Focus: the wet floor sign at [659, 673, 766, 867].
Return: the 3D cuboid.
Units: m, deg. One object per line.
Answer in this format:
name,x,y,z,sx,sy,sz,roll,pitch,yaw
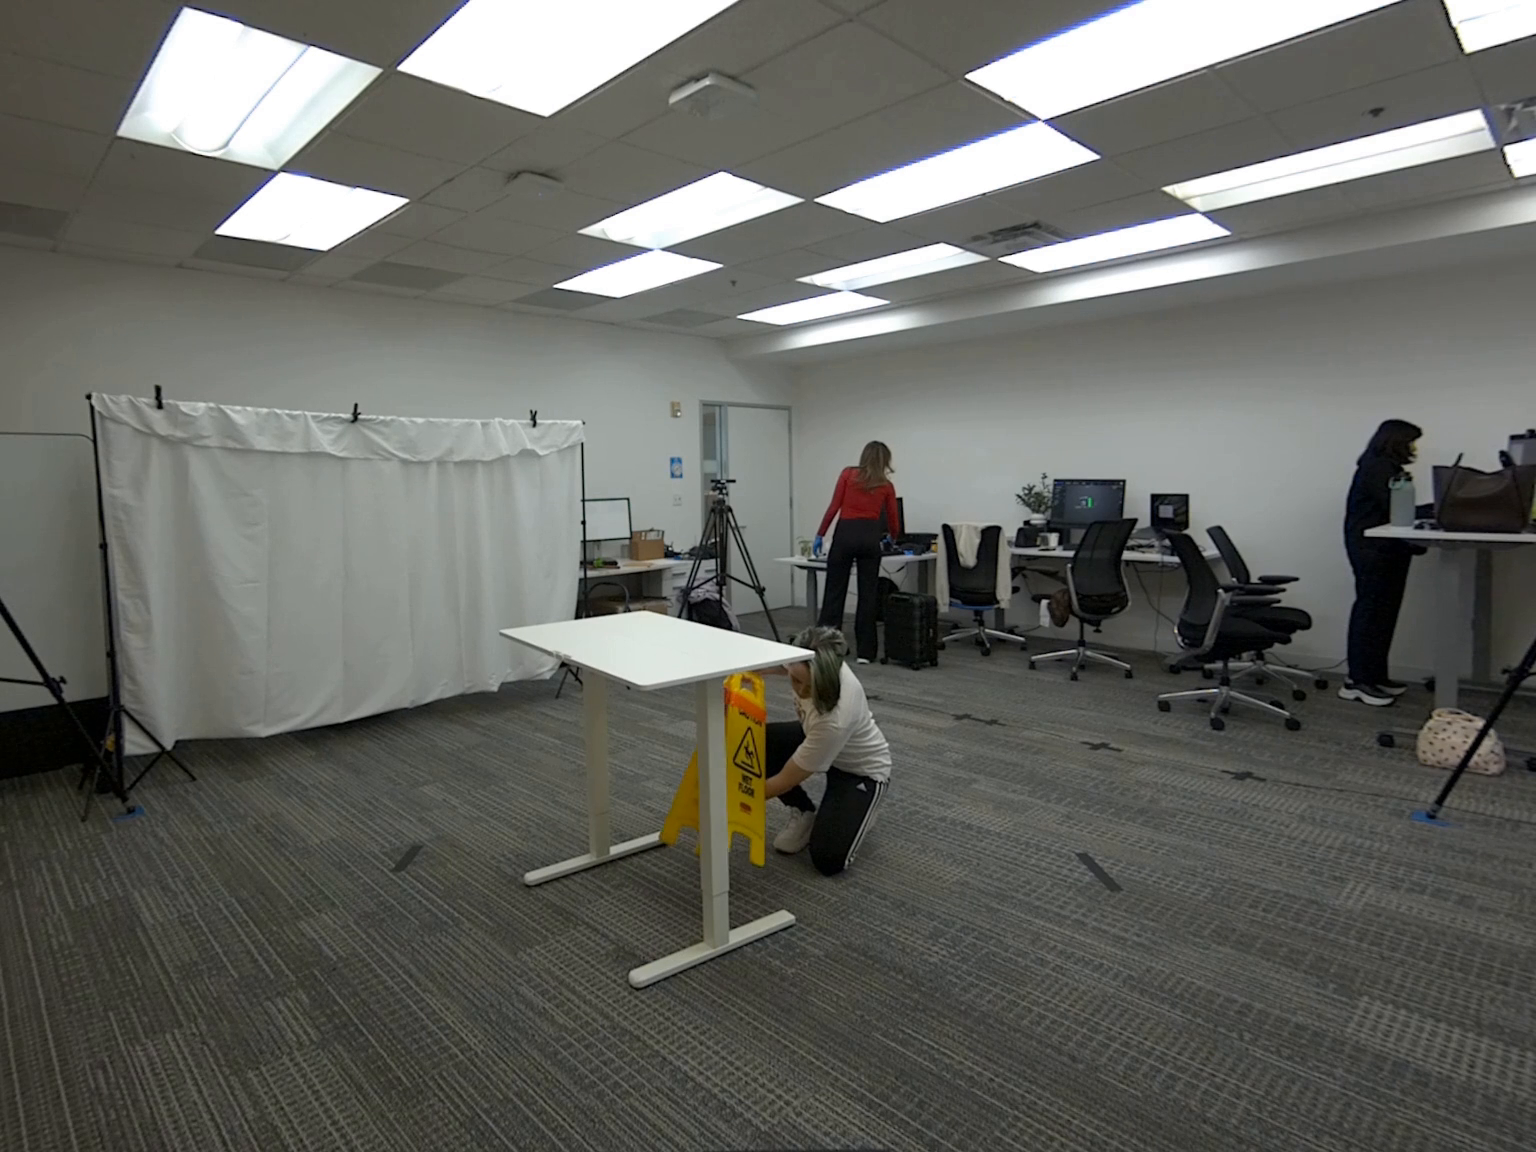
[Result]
wet floor sign,-0.133,0.632,2.988,0.296,0.657,0.271,-8,-31,33
